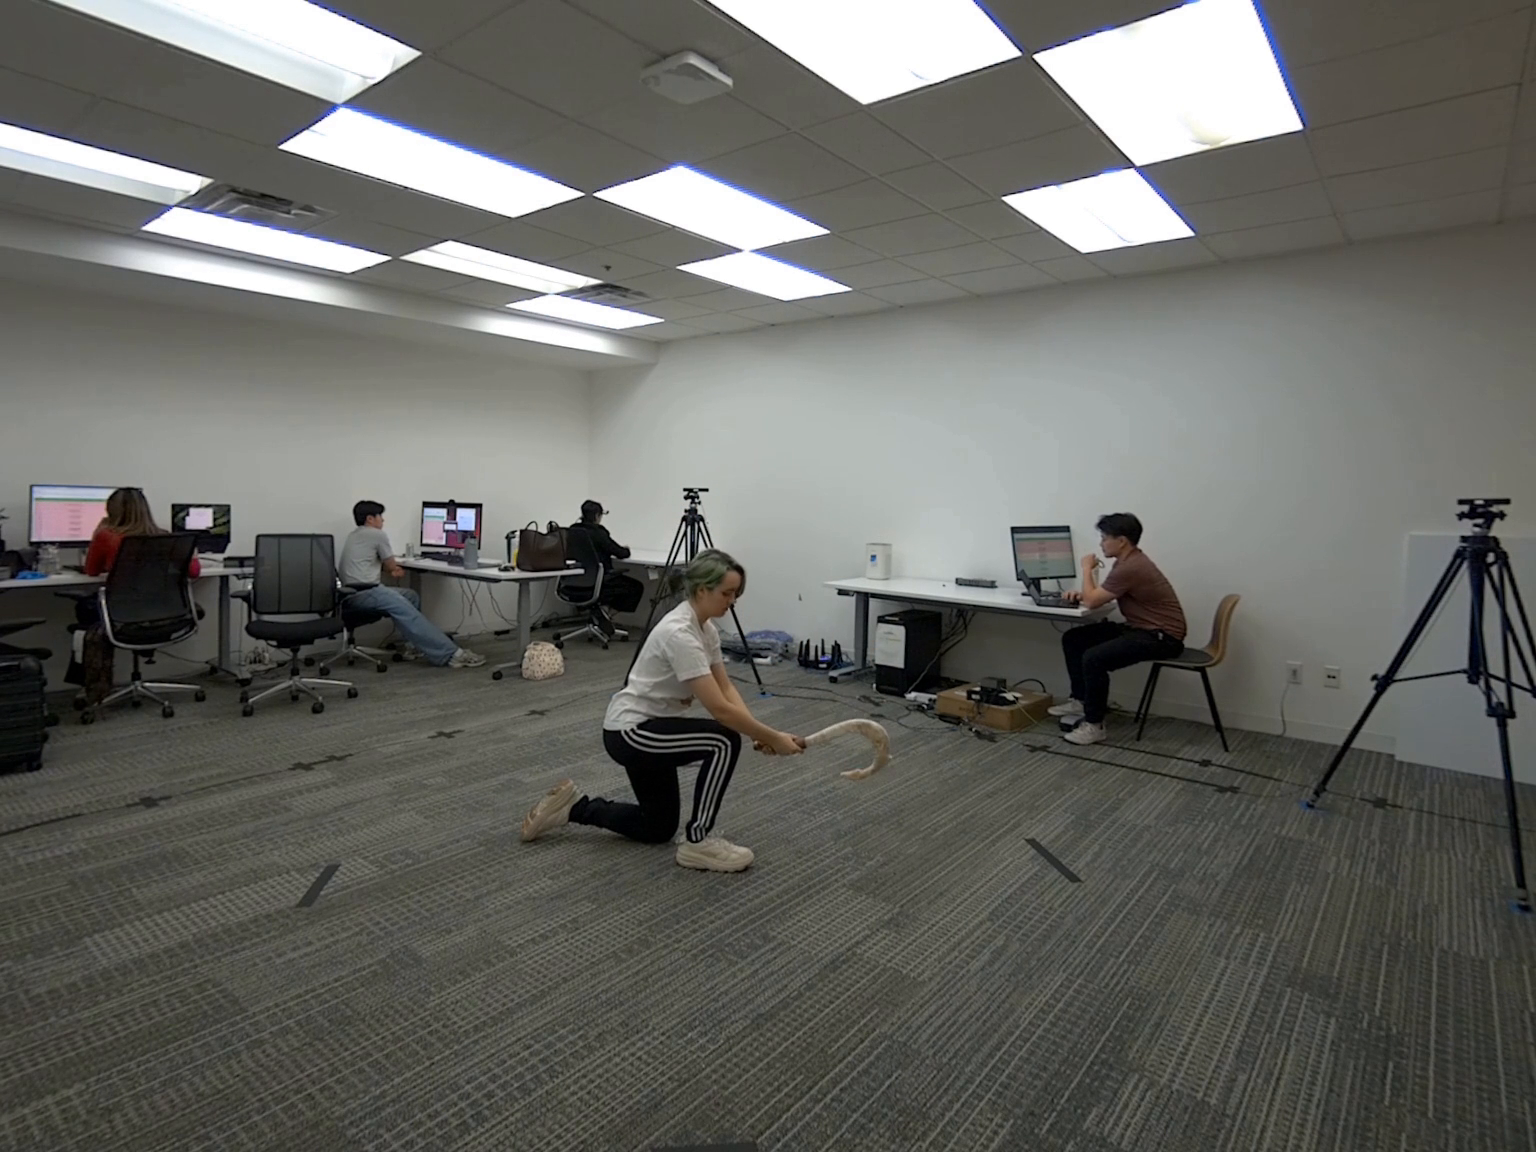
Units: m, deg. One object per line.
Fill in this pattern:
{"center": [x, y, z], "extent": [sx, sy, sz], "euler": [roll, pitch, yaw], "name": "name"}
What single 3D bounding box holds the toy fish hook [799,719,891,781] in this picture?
{"center": [0.191, 0.669, 3.171], "extent": [0.512, 0.225, 0.047], "euler": [-9, -4, 12], "name": "toy fish hook"}
